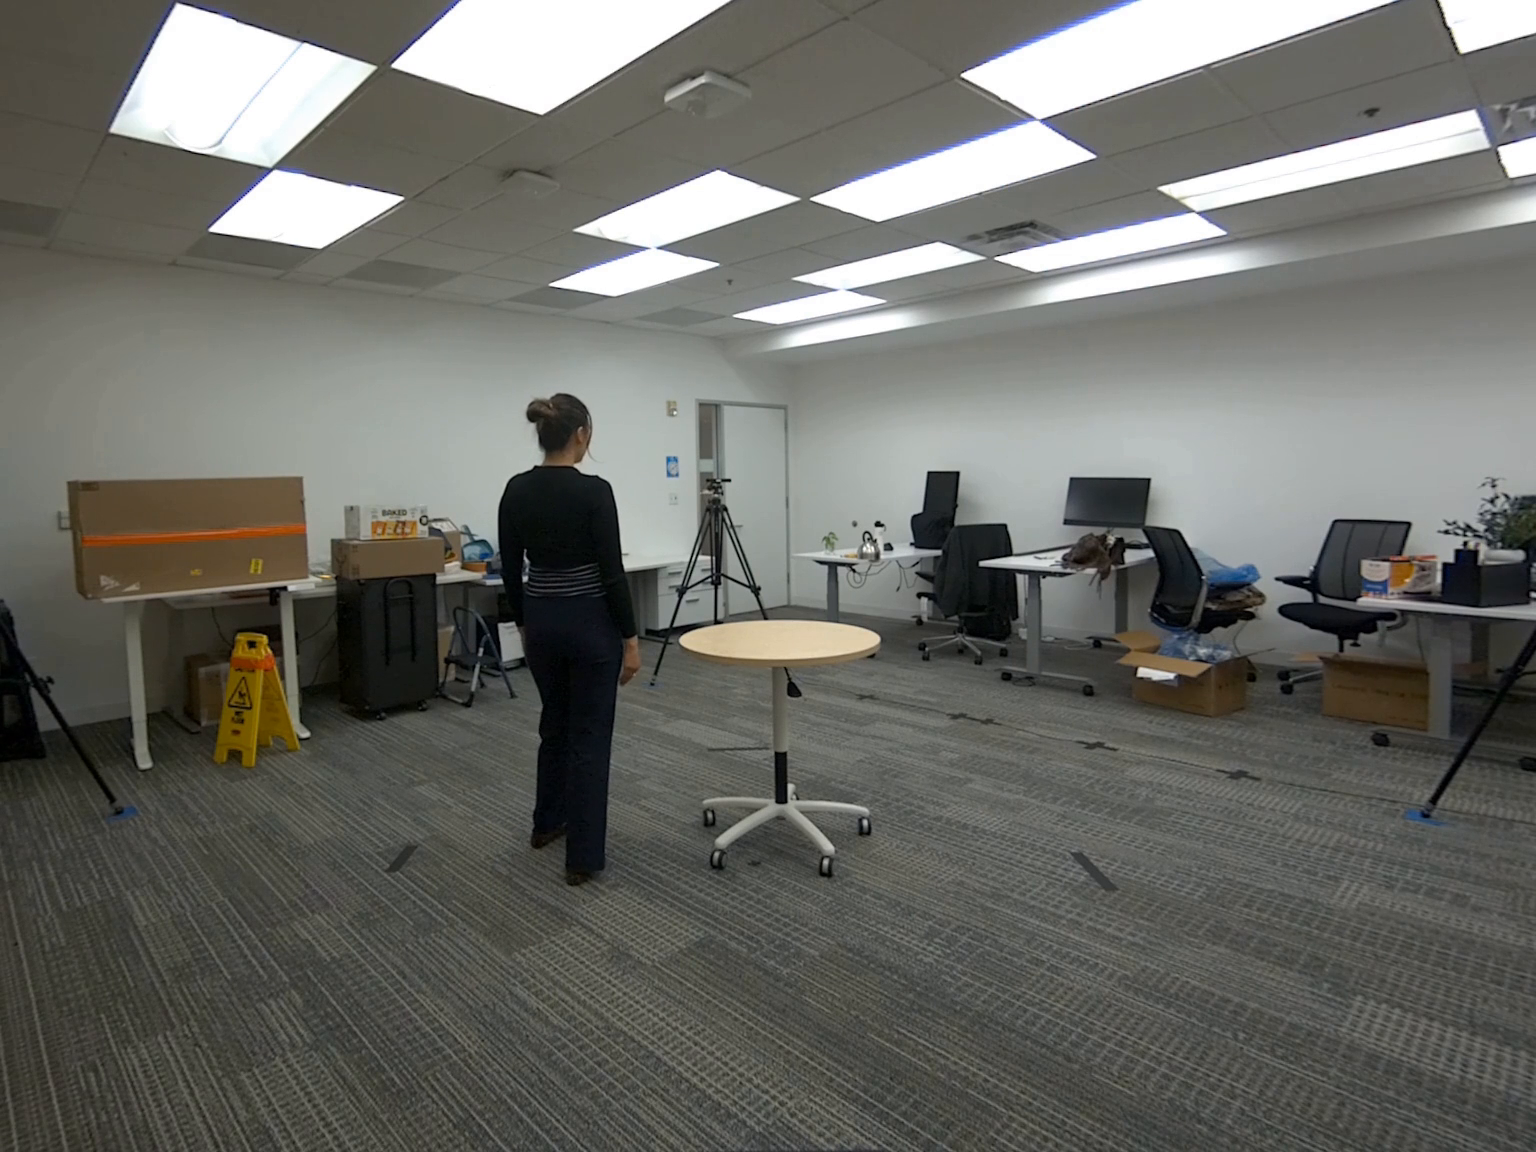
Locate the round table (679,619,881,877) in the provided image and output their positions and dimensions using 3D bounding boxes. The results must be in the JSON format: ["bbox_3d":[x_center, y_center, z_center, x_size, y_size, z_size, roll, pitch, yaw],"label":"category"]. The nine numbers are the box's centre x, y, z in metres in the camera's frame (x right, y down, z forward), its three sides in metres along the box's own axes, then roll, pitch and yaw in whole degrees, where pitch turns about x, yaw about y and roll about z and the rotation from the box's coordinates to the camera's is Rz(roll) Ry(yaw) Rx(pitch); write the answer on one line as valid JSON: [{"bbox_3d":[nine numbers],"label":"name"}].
[{"bbox_3d":[0.050,0.629,3.303,0.763,0.791,0.768,-1,5,-2],"label":"round table"}]
